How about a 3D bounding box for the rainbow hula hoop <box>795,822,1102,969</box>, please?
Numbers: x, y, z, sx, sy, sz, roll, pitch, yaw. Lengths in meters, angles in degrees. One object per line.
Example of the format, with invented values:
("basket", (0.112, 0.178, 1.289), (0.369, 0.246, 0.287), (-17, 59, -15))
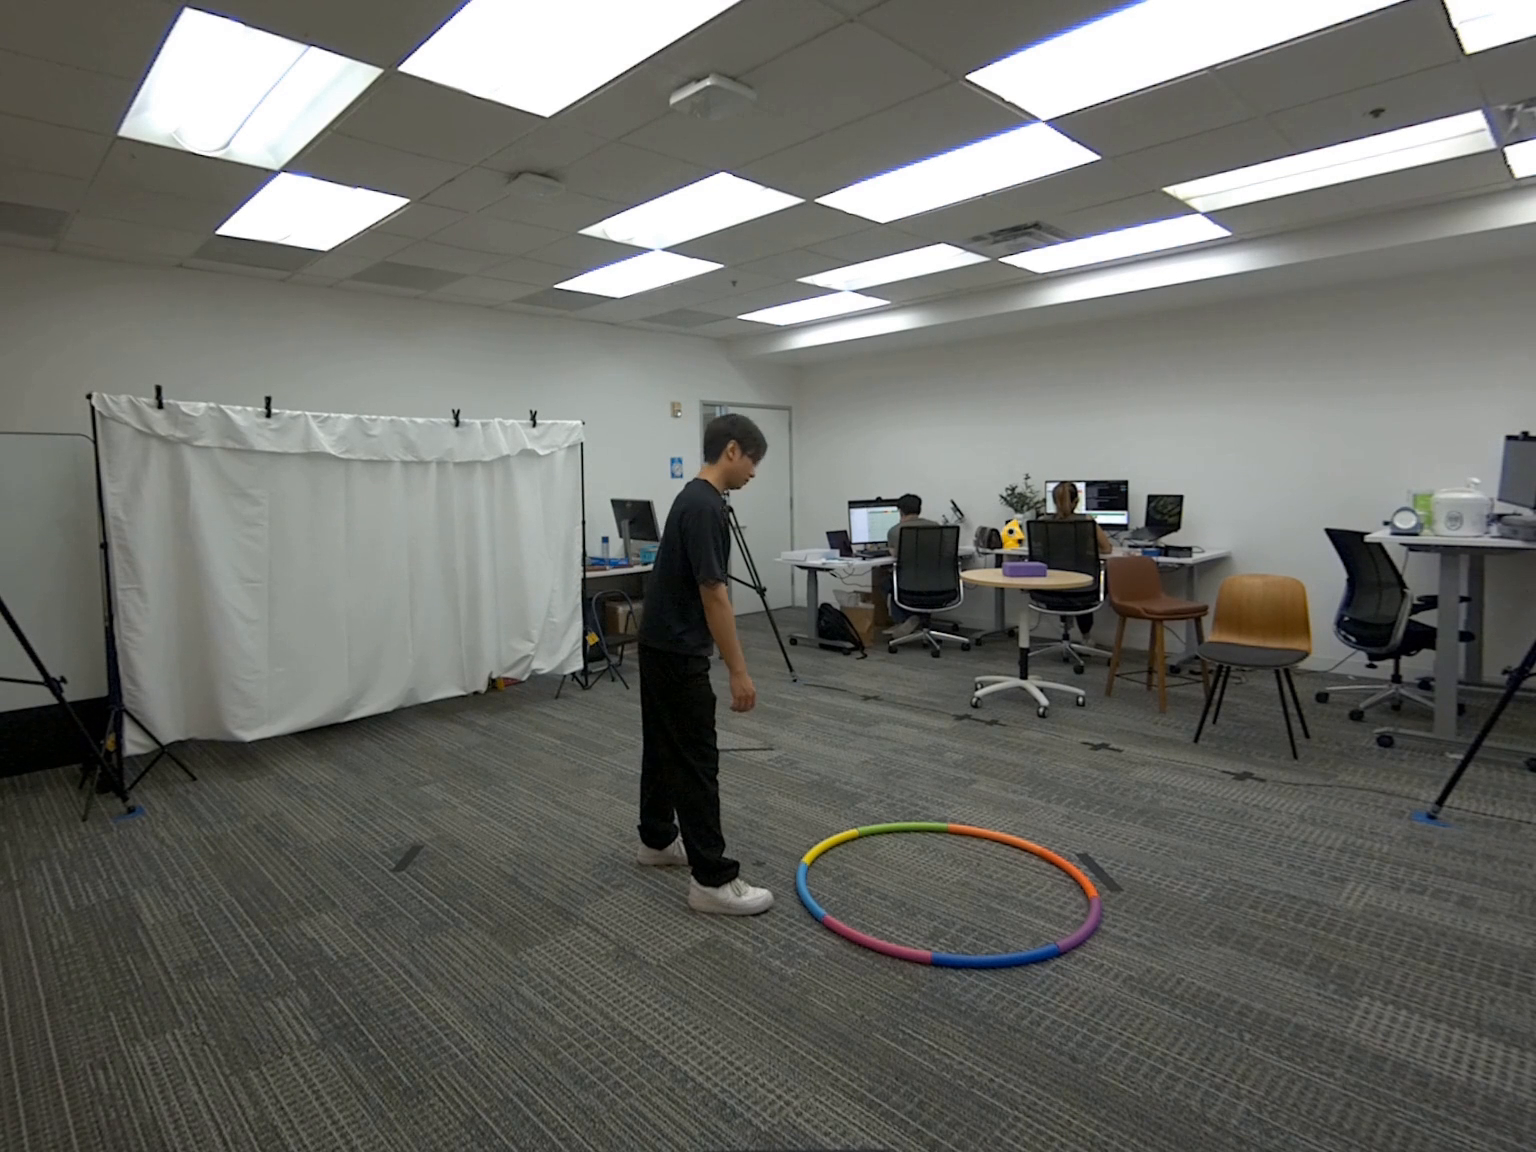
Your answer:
("rainbow hula hoop", (0.589, 1.032, 2.903), (0.978, 0.035, 0.984), (-1, 6, -2))
